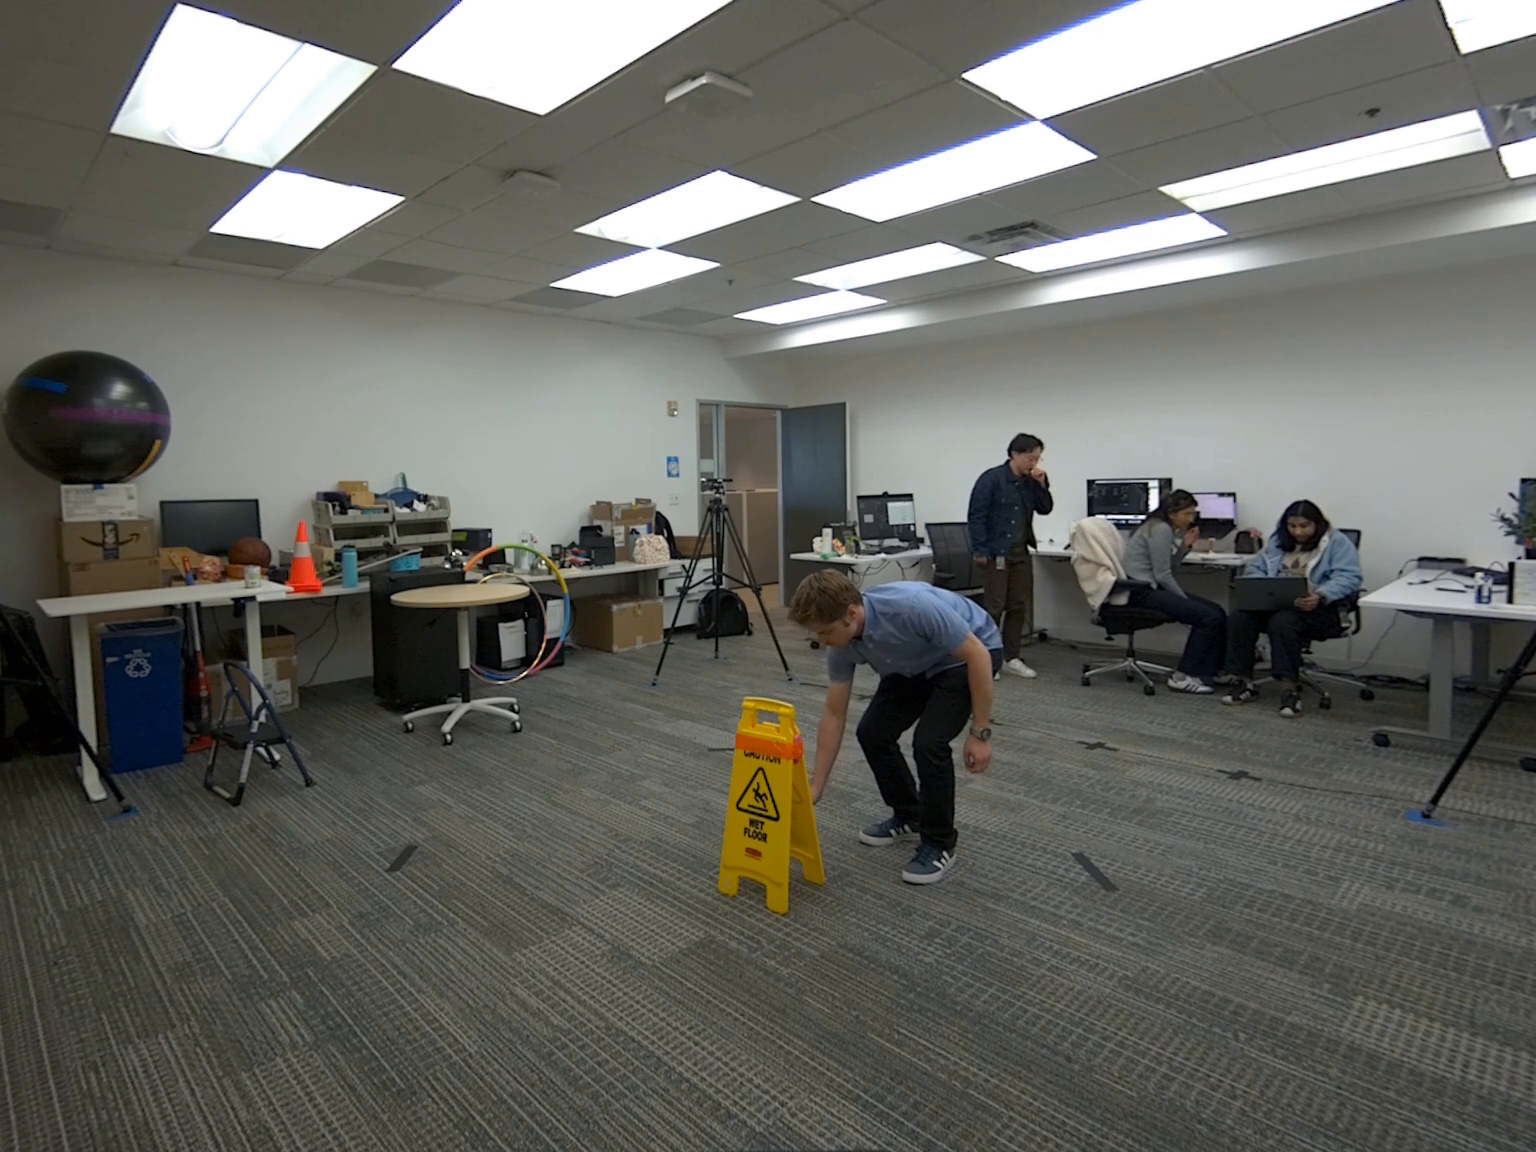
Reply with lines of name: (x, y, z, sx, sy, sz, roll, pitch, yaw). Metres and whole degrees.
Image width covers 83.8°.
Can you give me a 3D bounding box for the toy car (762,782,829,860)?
toy car: (0.095, 0.848, 2.977, 0.133, 0.249, 0.083, -8, 22, 35)
